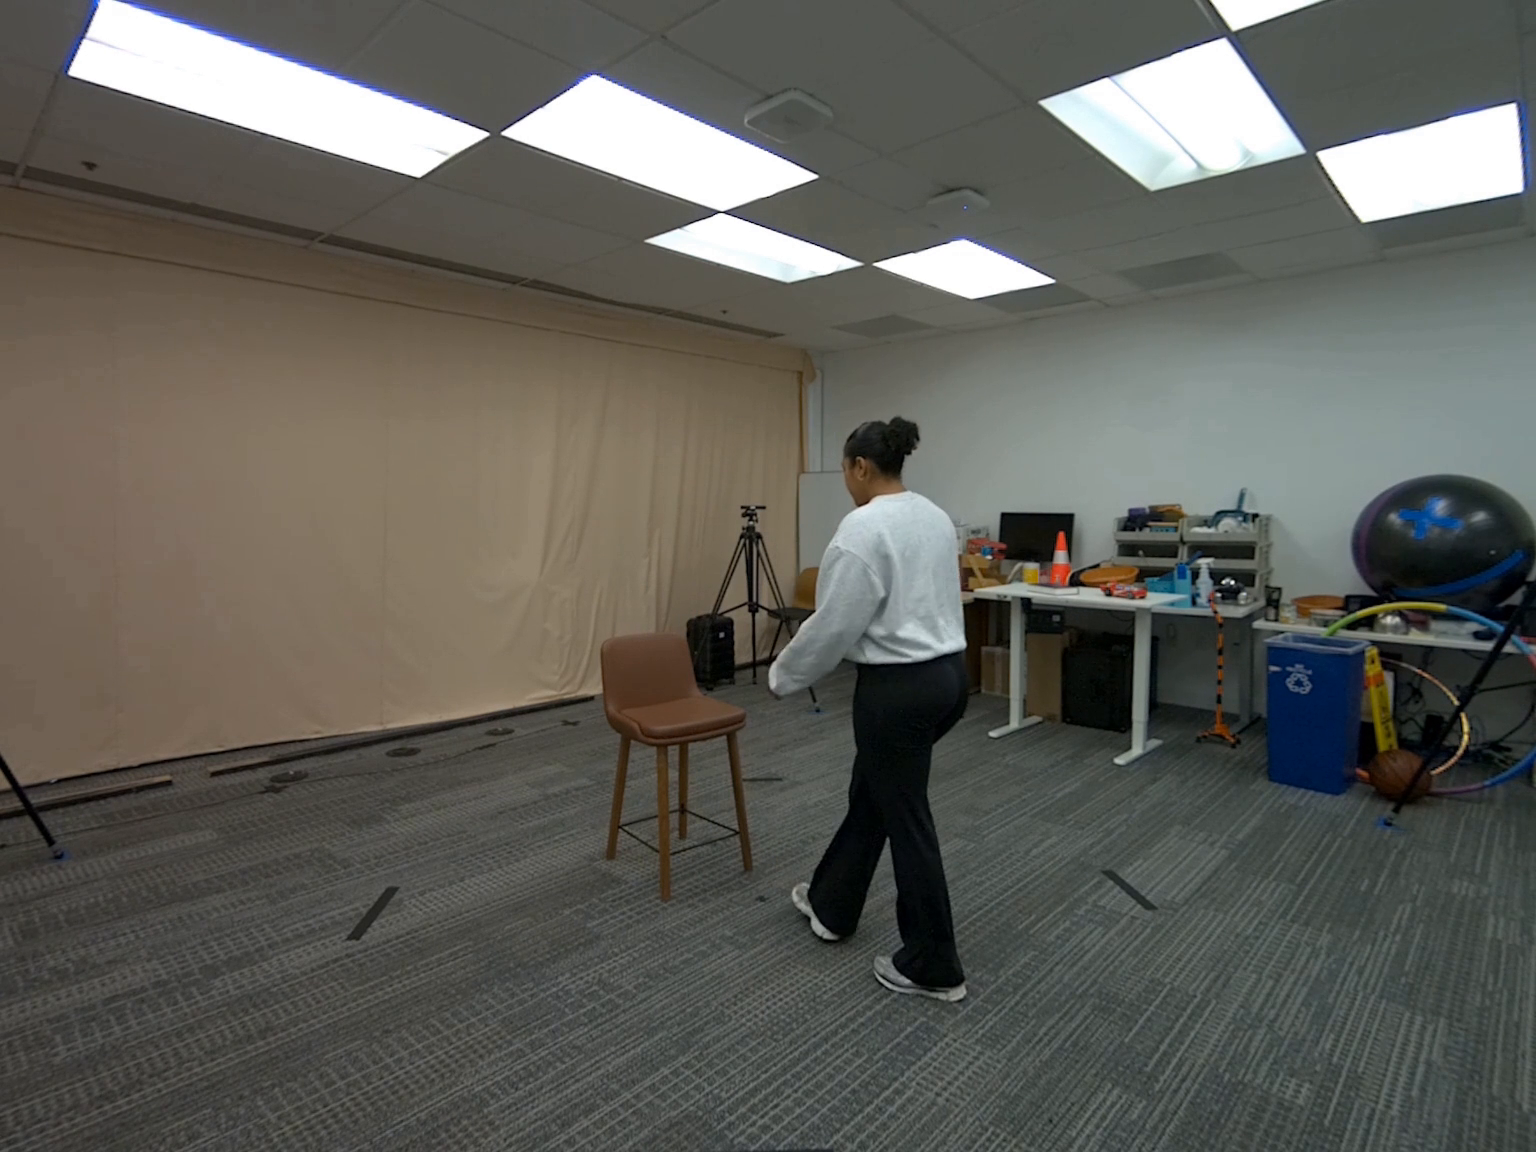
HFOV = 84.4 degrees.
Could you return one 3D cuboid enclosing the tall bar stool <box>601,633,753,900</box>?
[{"bbox_3d":[-0.364,0.689,3.252,0.443,0.889,0.482,-3,2,-39],"label":"tall bar stool"}]
